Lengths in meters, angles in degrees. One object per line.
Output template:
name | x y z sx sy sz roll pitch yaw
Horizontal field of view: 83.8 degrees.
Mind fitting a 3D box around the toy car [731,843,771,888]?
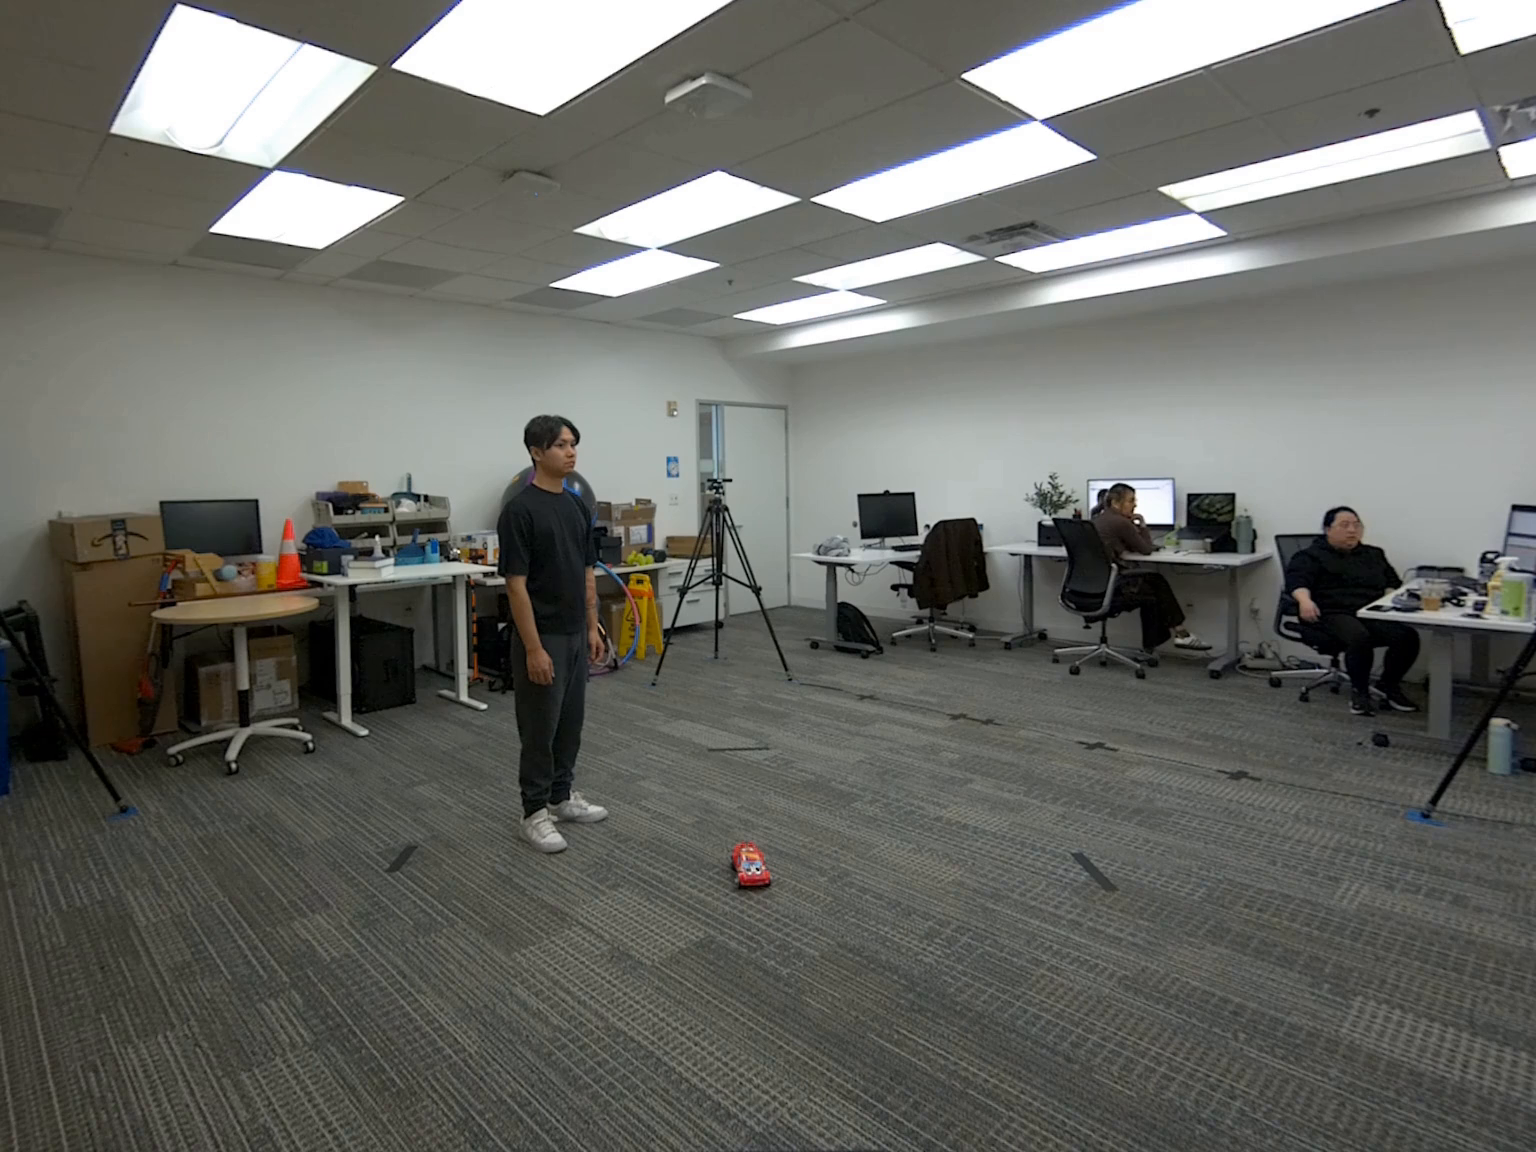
toy car | -0.064 1.023 3.021 0.129 0.082 0.260 -1 18 -8
